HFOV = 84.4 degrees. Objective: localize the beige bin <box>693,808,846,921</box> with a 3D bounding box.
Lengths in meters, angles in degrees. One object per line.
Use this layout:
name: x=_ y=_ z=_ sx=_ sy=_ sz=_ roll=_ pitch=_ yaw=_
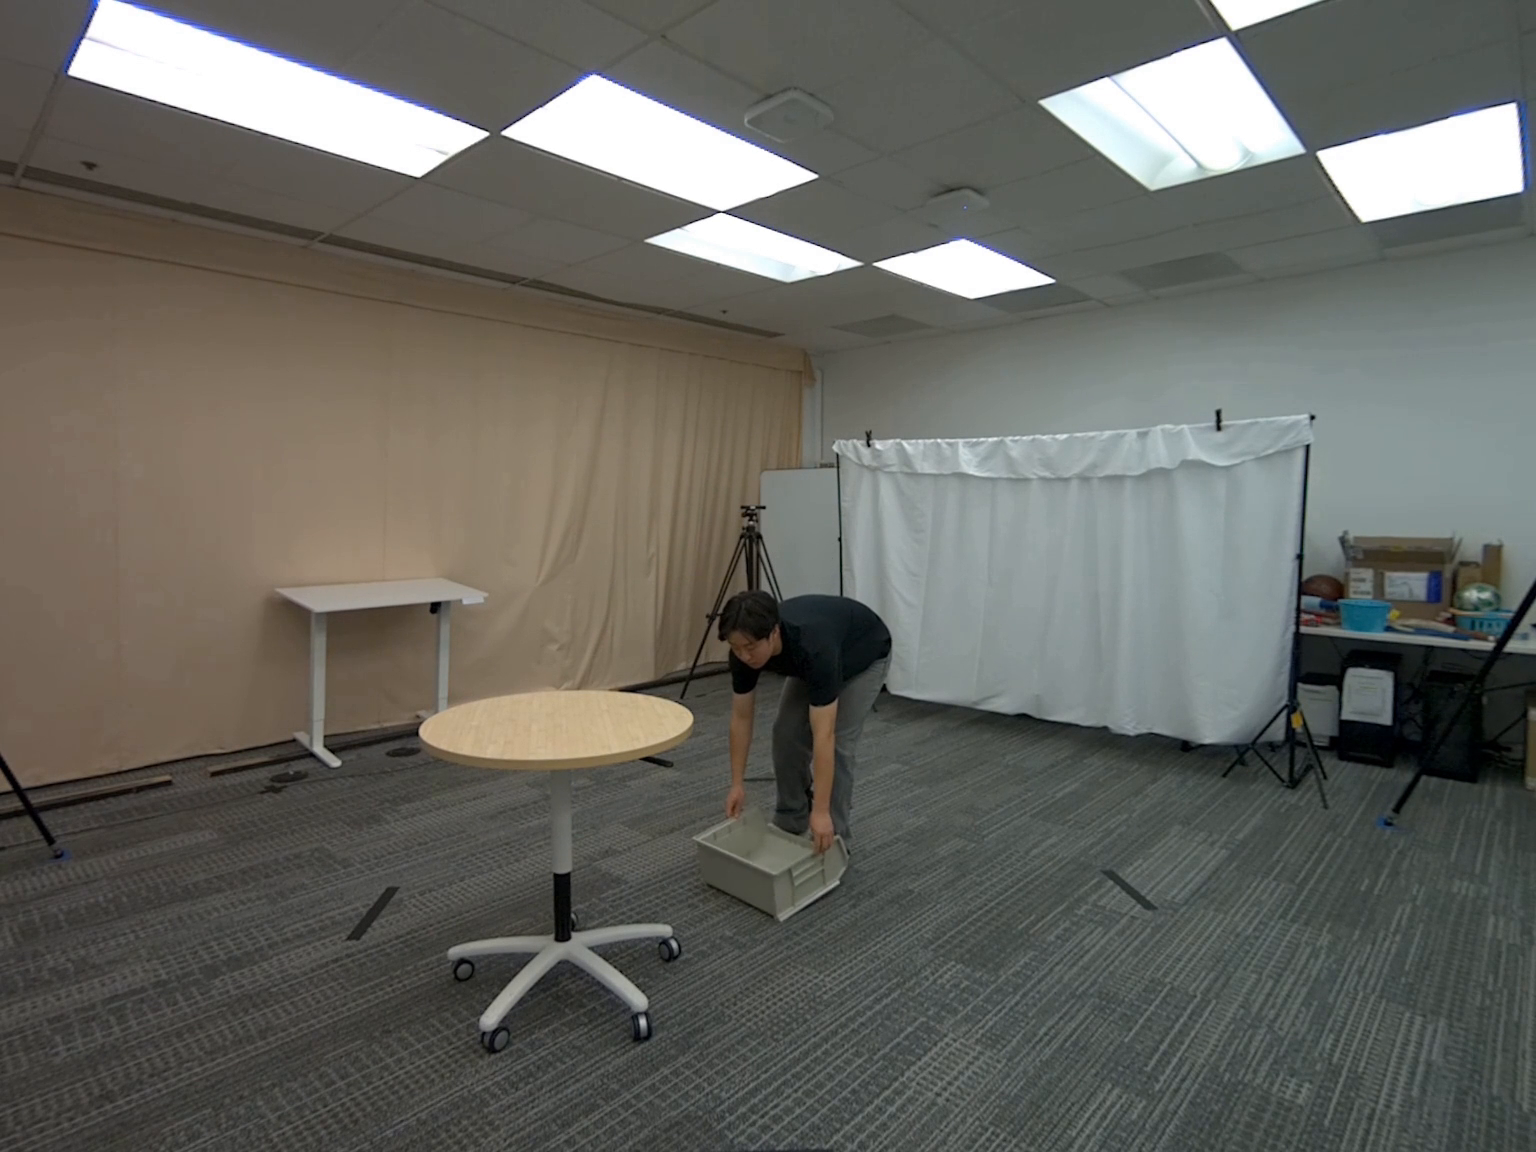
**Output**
beige bin: x=0.006 y=1.023 z=3.066 sx=0.367 sy=0.188 sz=0.436 roll=-15 pitch=14 yaw=-43
